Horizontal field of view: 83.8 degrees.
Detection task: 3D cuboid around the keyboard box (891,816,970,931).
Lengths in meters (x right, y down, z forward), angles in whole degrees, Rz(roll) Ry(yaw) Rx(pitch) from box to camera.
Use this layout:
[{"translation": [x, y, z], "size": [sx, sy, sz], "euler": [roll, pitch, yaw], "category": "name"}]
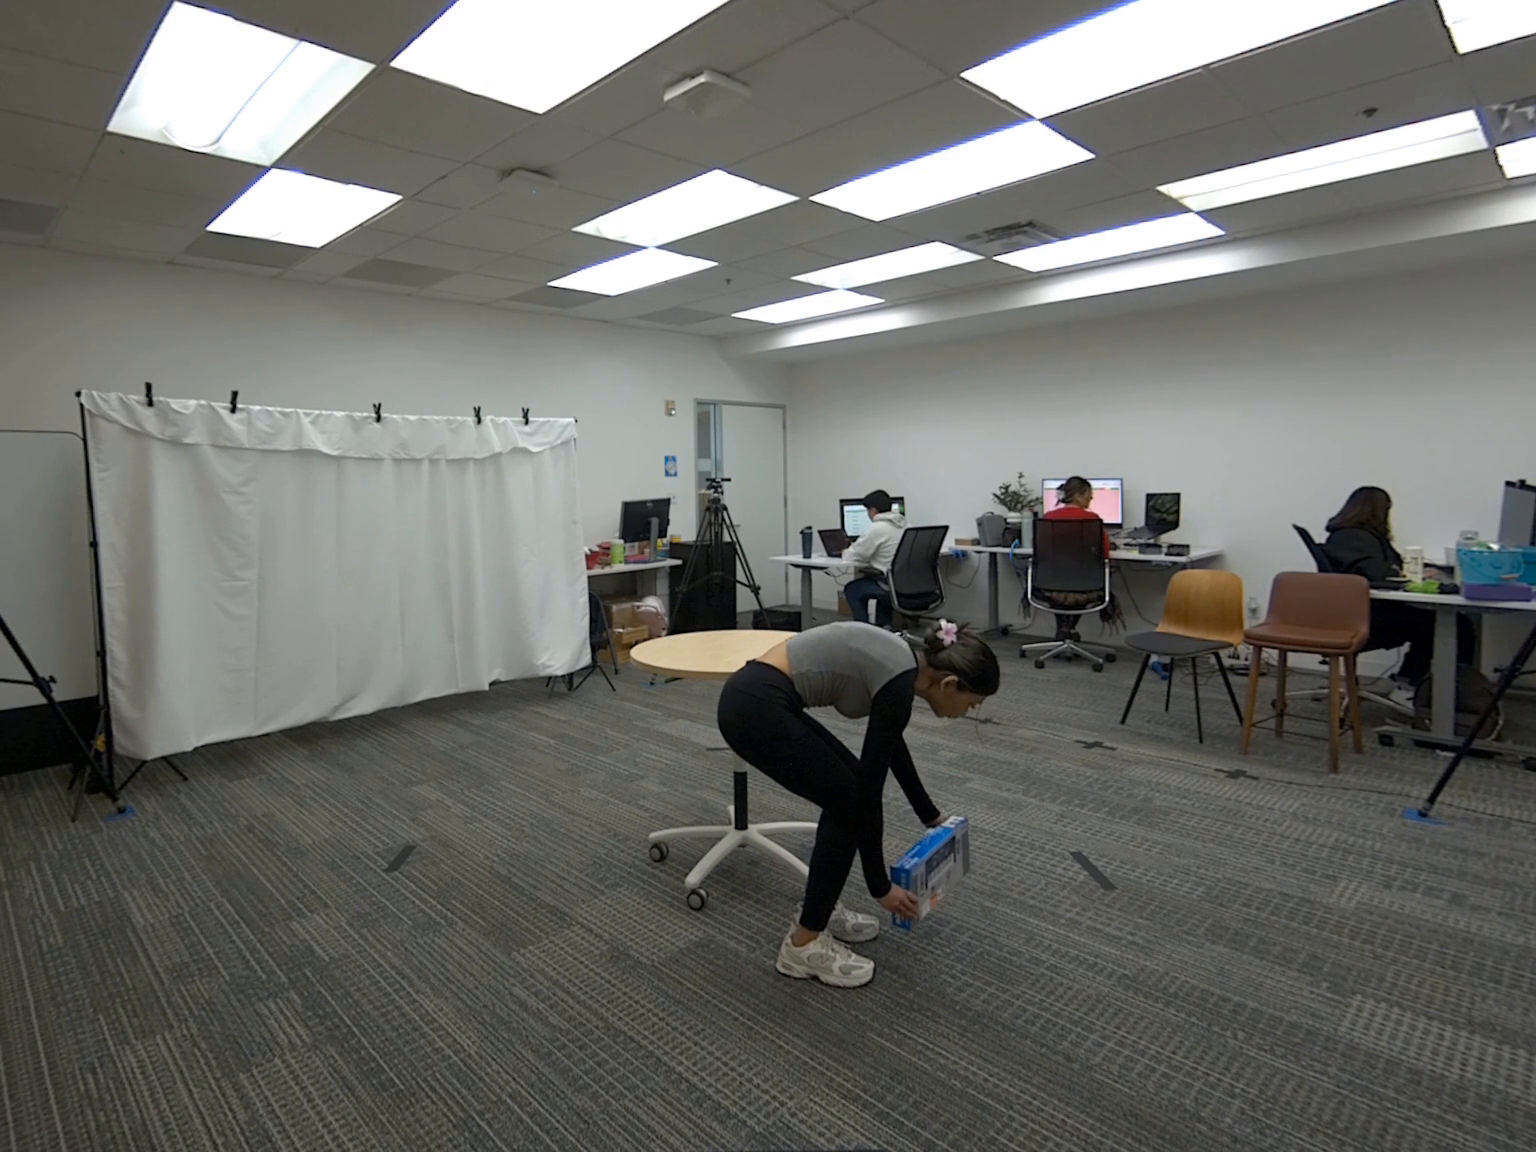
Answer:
[{"translation": [0.486, 0.860, 2.513], "size": [0.061, 0.175, 0.426], "euler": [0, 5, 34], "category": "keyboard box"}]
